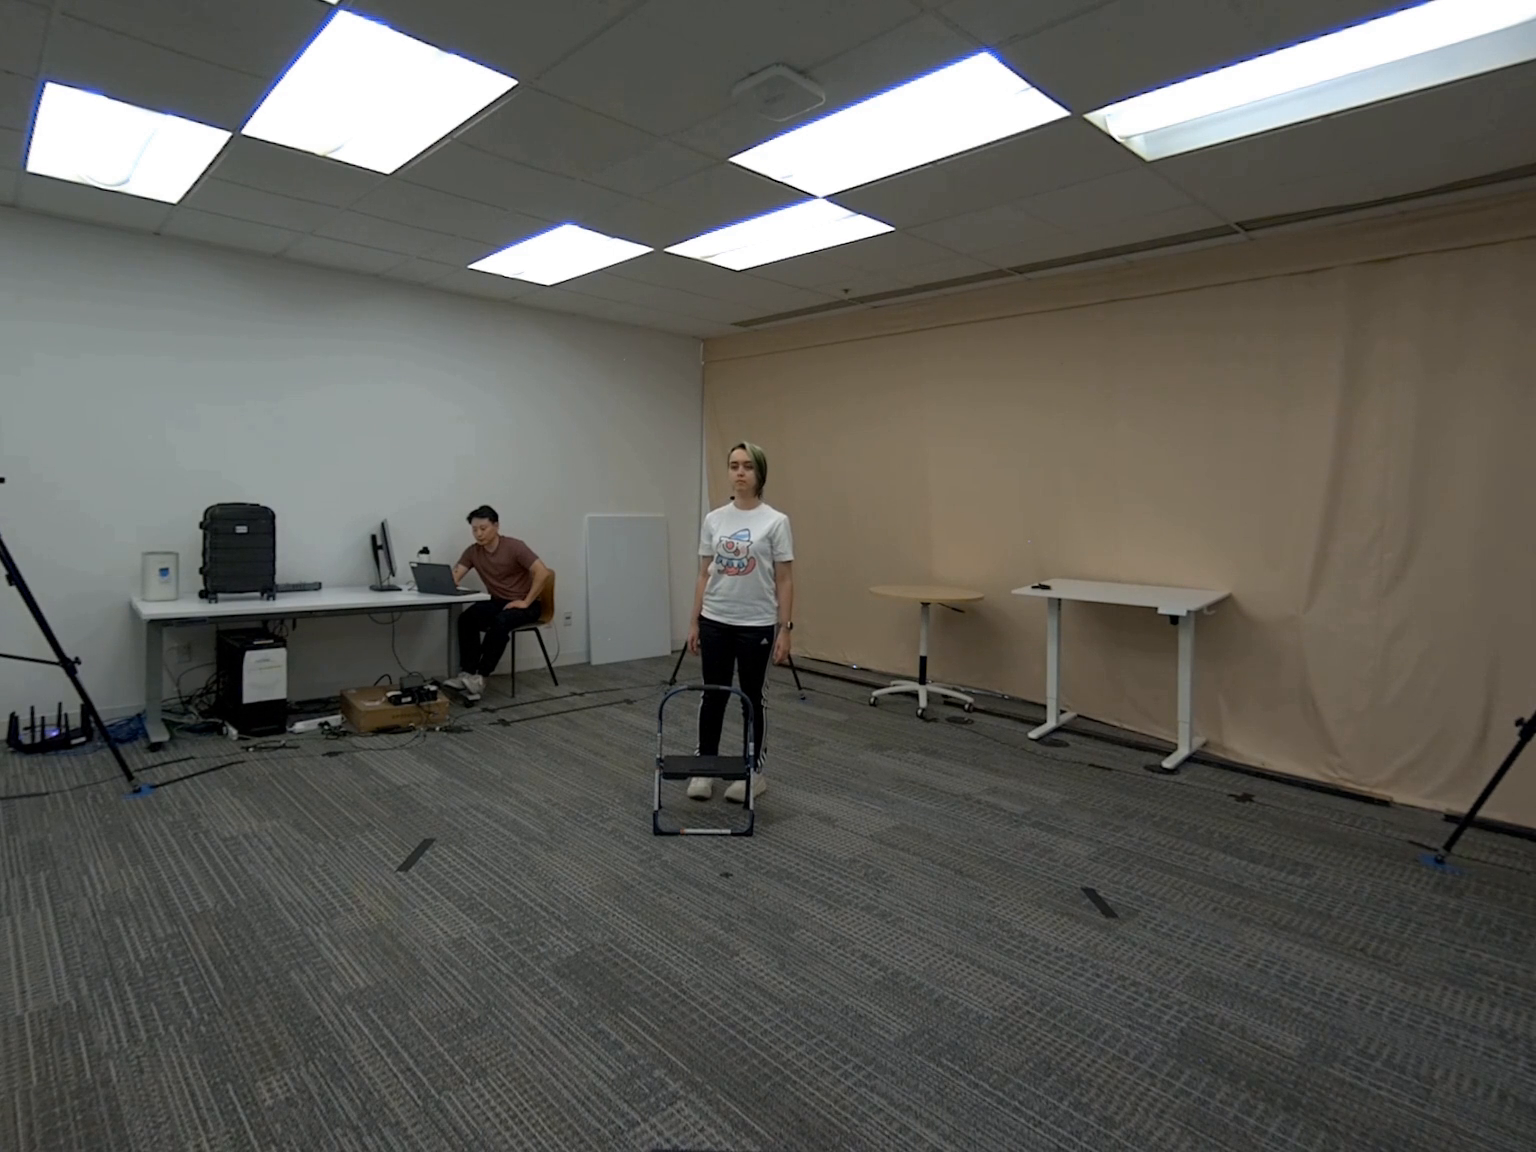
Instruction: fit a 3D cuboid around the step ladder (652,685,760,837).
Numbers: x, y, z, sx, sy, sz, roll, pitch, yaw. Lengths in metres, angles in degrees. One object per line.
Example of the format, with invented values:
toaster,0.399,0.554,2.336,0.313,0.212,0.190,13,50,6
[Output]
step ladder,-0.286,0.761,3.614,0.429,0.604,0.351,3,3,-4
